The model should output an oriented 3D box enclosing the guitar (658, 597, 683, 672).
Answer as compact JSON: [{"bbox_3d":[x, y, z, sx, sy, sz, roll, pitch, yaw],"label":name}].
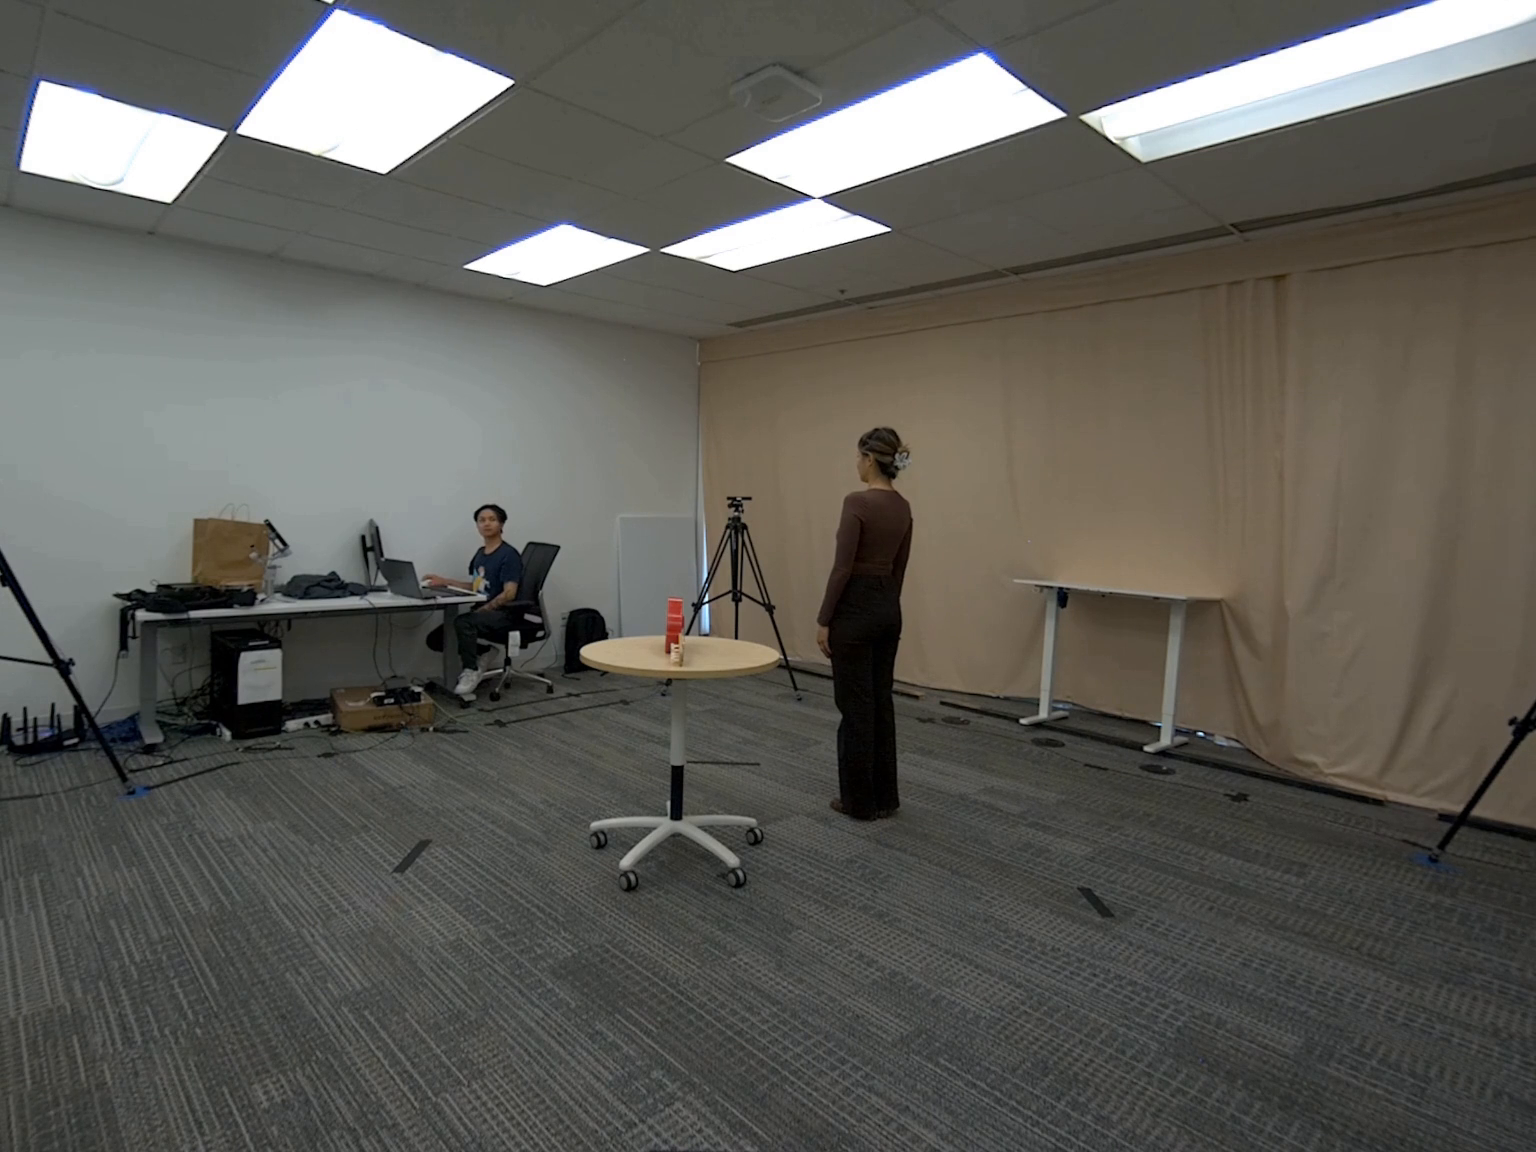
[{"bbox_3d":[-0.368,0.207,3.172,0.070,0.192,0.502,3,5,-7],"label":"guitar"}]
